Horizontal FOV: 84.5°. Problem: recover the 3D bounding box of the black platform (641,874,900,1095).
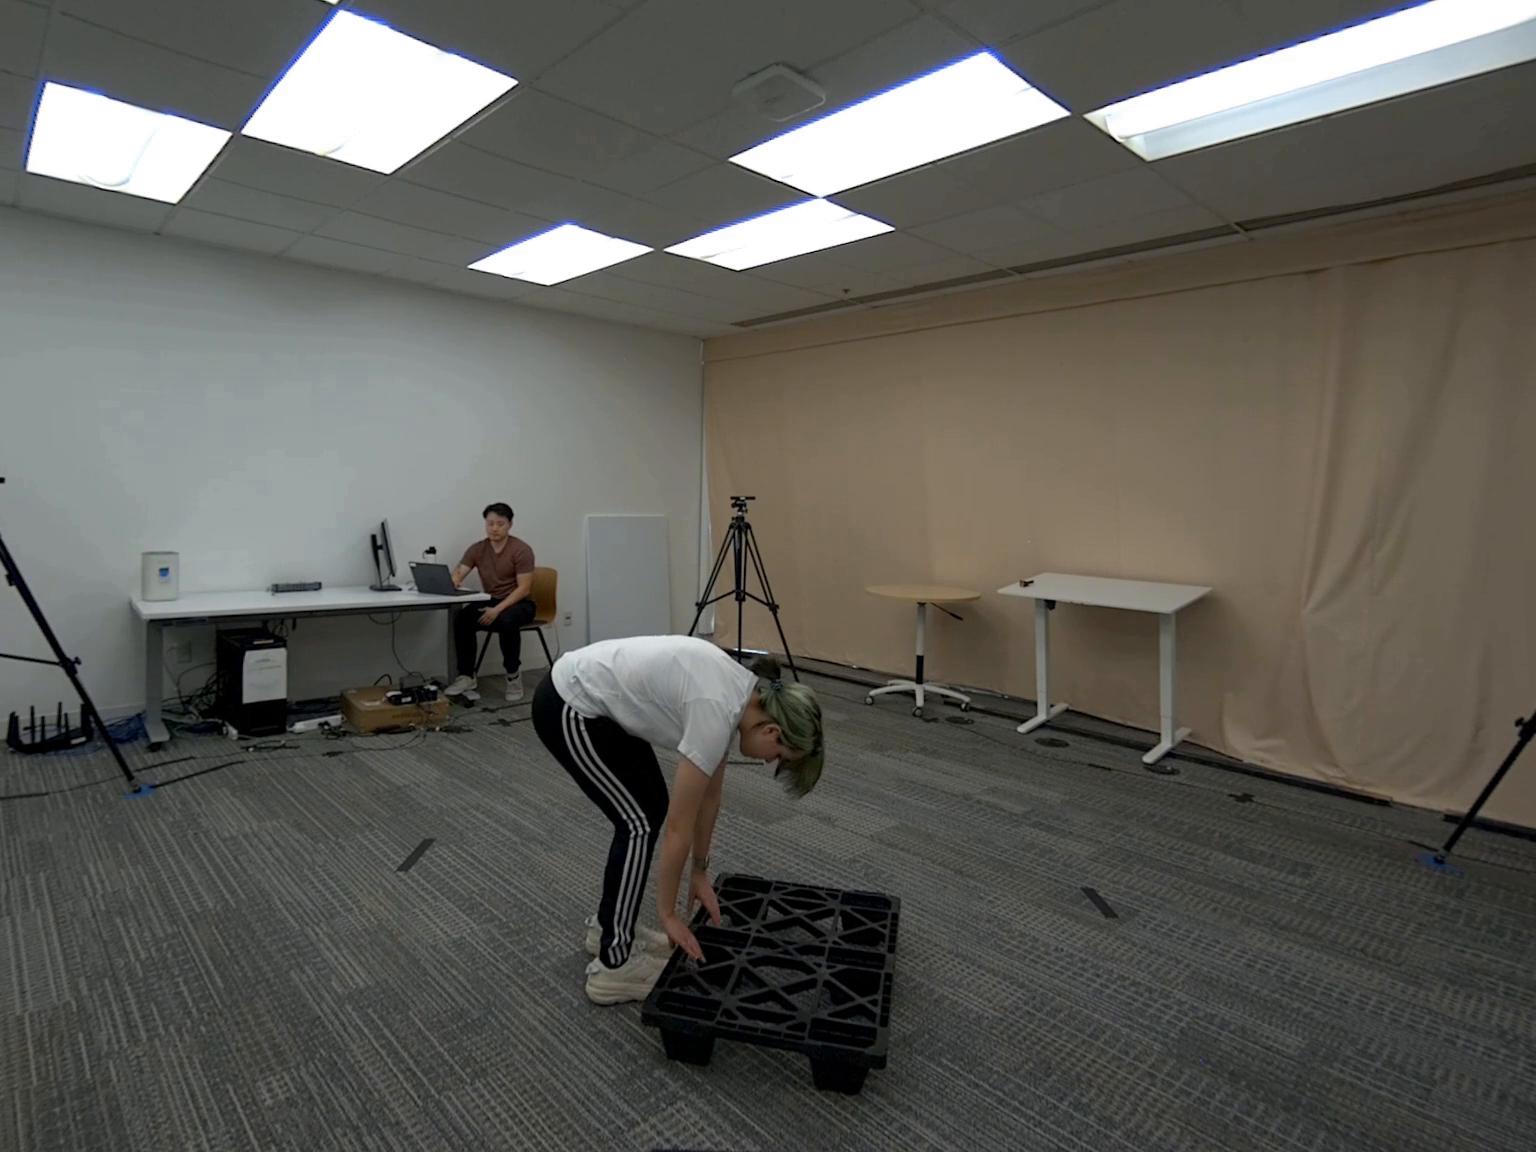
[{"bbox_3d":[0.052,1.108,2.377,0.612,0.143,0.799,4,6,12],"label":"black platform"}]
